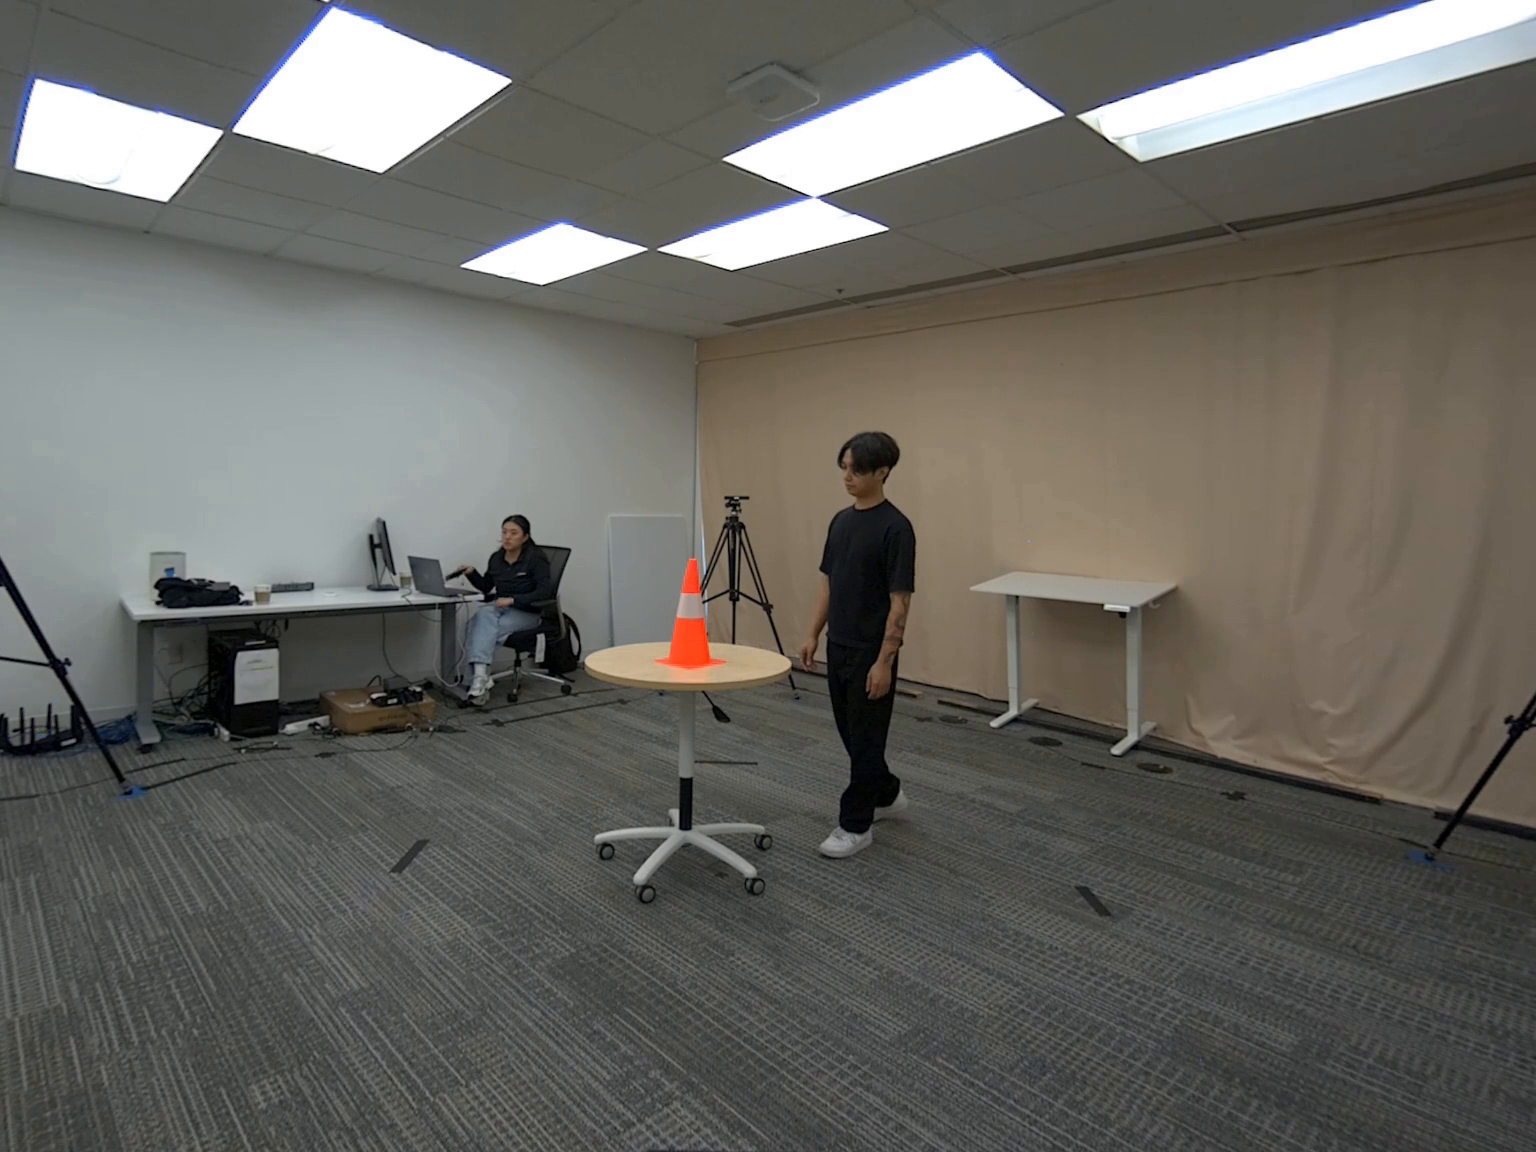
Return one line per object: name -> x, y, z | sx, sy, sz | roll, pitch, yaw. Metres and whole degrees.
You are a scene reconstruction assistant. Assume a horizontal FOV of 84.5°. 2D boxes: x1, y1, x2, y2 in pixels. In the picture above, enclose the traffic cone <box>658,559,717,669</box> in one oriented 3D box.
traffic cone -> -0.285, 0.134, 3.096 | 0.208, 0.383, 0.200 | 5, 4, 36
